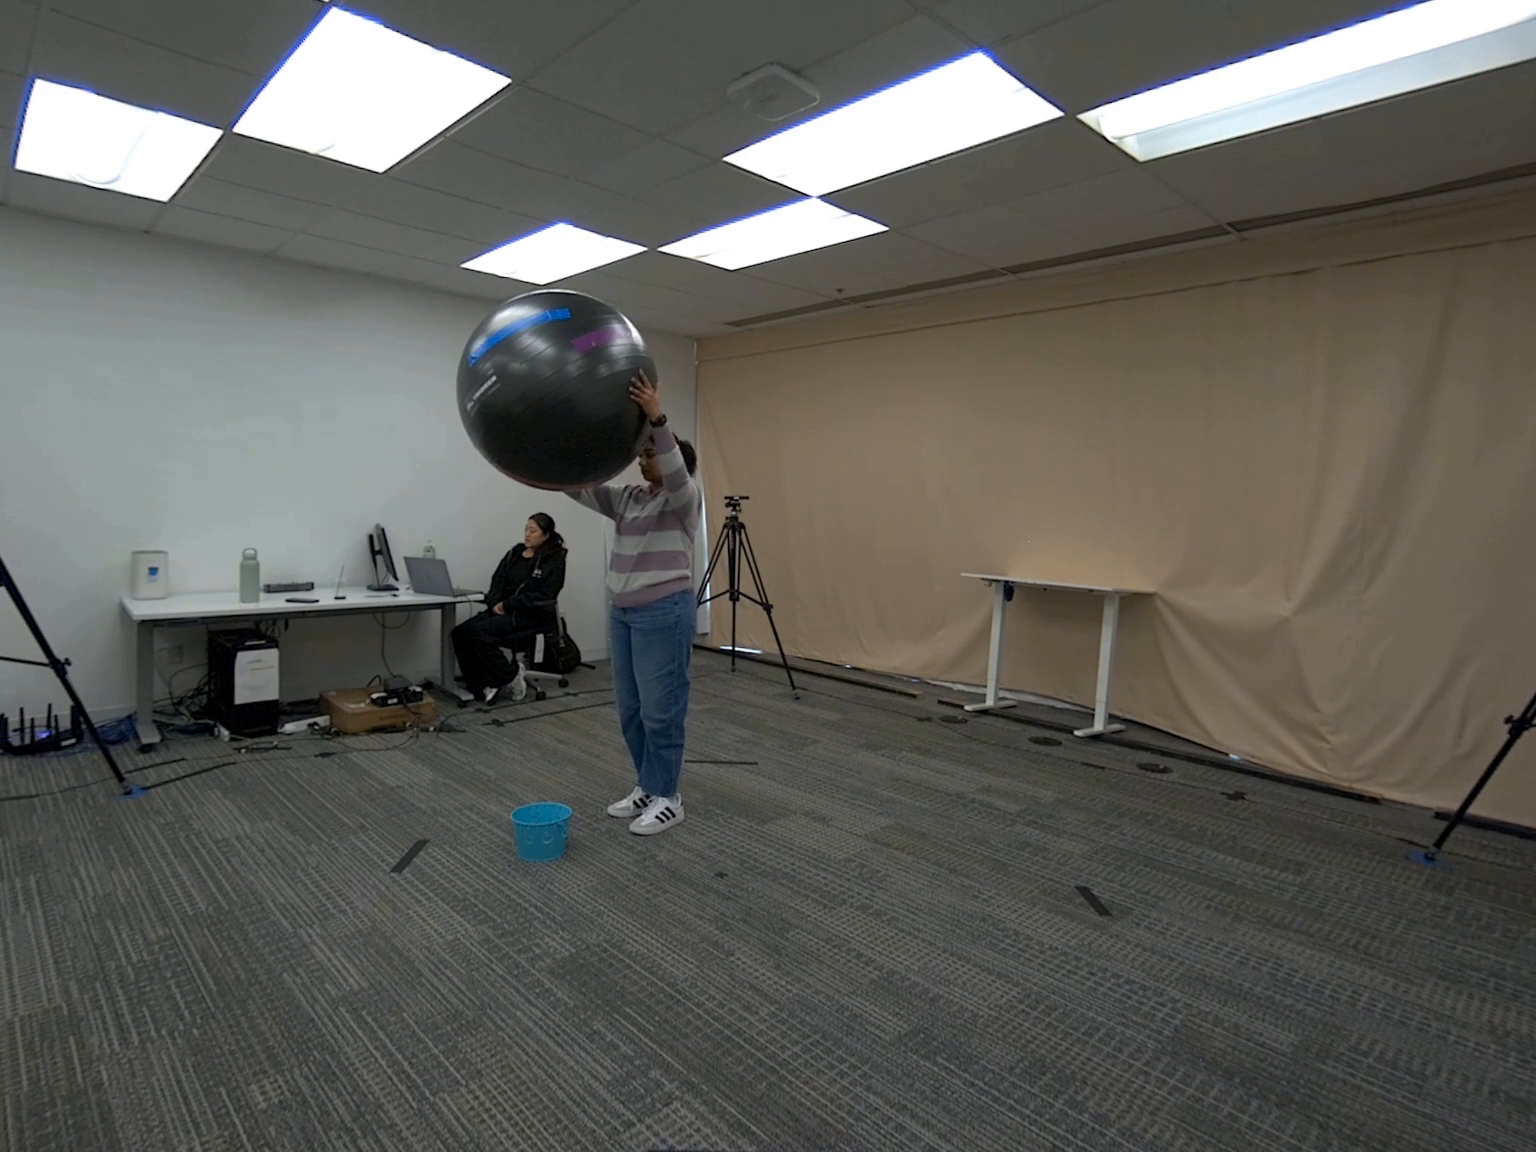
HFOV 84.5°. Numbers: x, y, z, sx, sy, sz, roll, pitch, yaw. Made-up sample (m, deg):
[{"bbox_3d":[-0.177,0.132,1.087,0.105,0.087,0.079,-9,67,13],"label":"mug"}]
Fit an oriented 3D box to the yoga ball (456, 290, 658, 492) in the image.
[{"bbox_3d":[-0.810,-0.697,3.231,0.757,0.756,0.761,1,4,-1],"label":"yoga ball"}]
